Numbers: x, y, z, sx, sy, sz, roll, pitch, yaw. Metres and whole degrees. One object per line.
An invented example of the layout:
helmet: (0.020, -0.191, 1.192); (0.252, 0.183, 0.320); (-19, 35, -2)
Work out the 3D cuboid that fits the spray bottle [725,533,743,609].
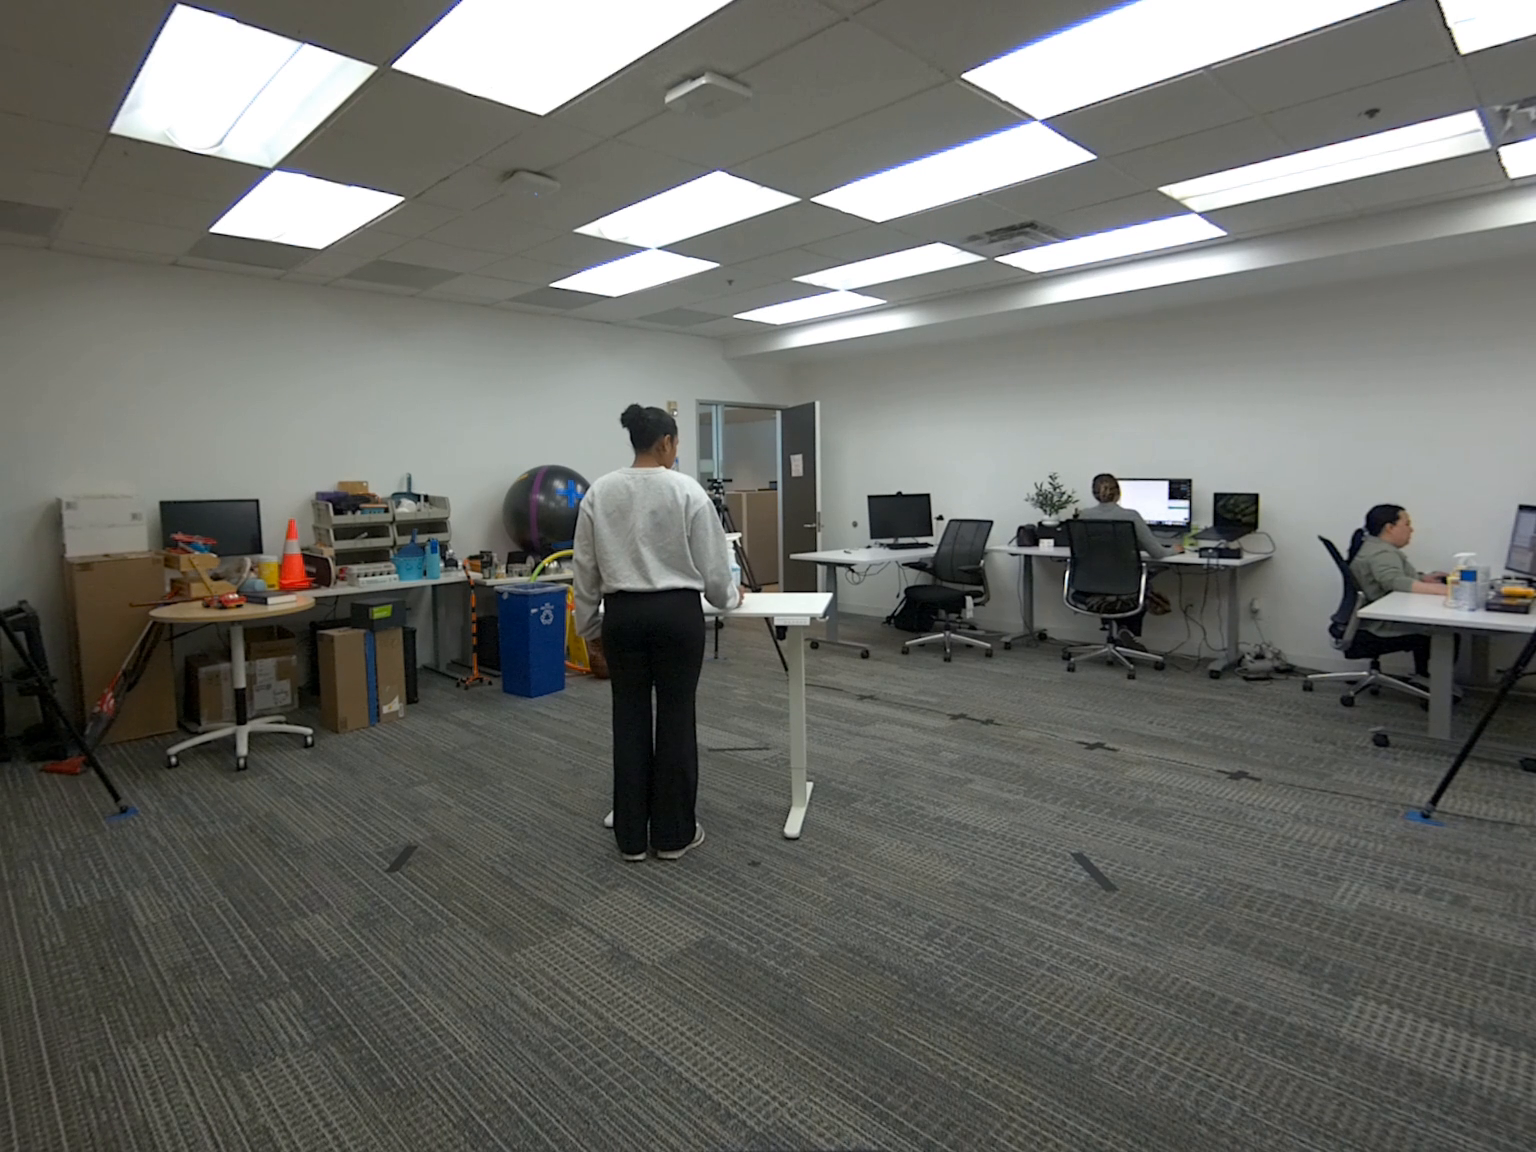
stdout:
spray bottle: (-0.154, -0.024, 3.460); (0.091, 0.295, 0.086); (2, 6, 13)
